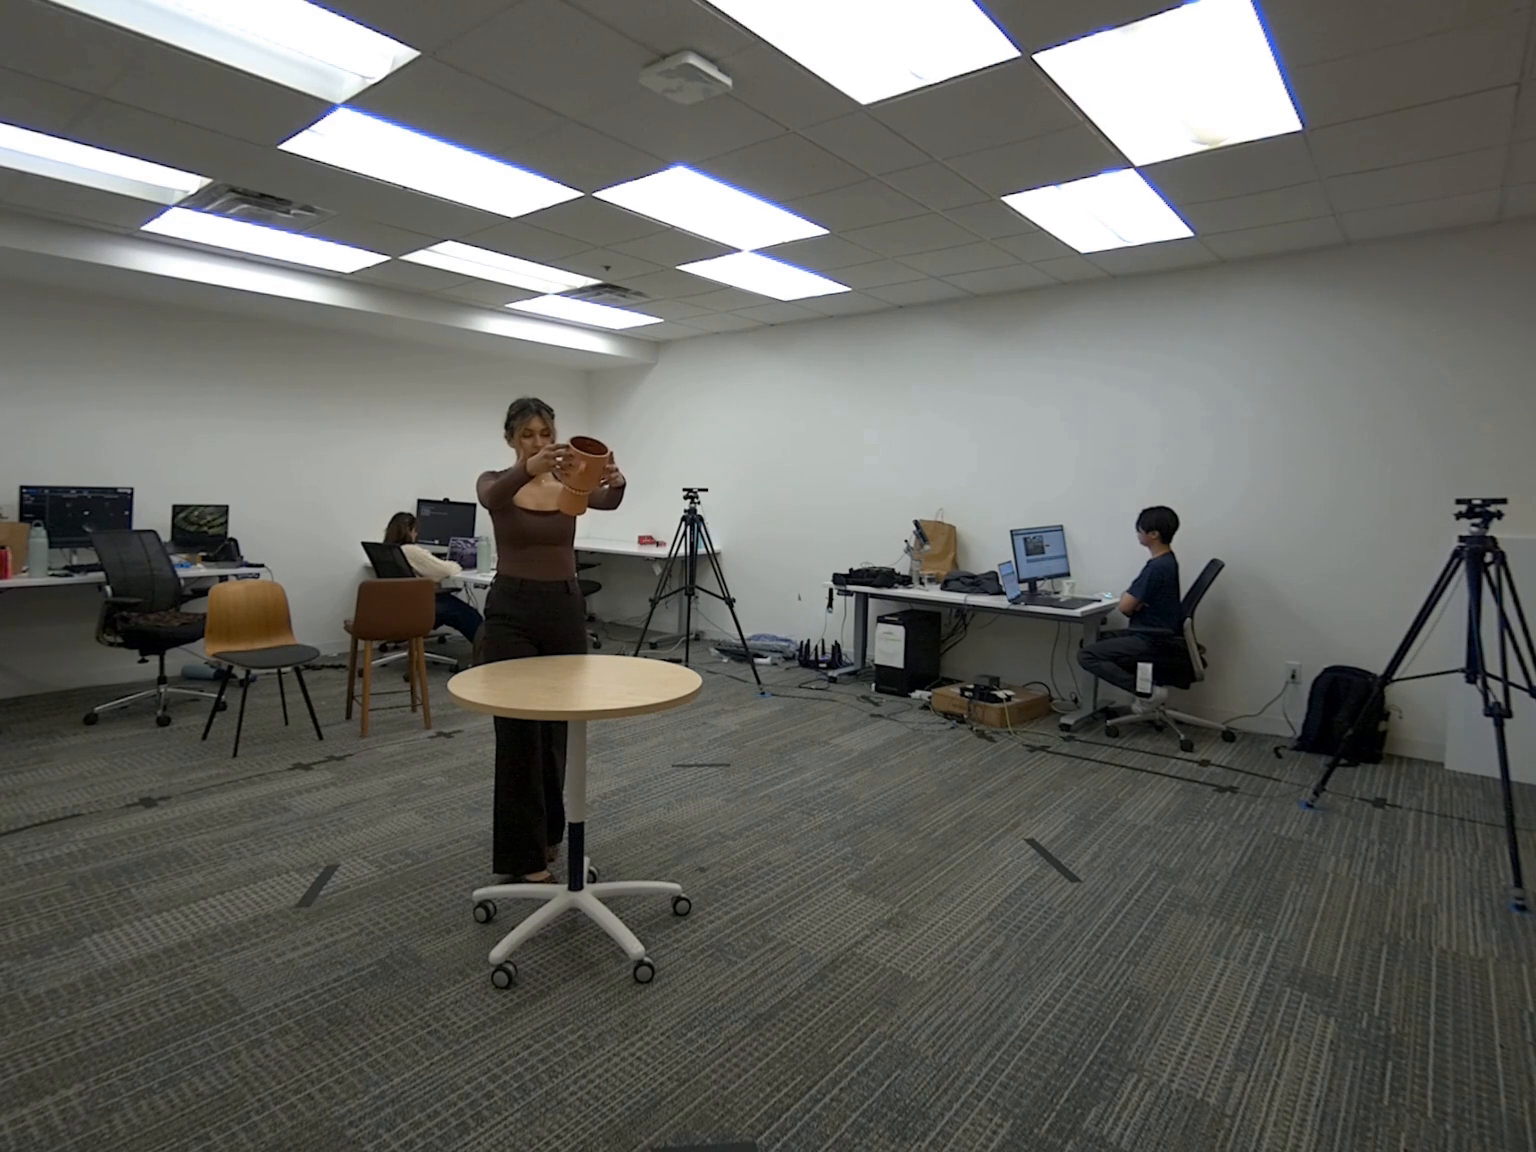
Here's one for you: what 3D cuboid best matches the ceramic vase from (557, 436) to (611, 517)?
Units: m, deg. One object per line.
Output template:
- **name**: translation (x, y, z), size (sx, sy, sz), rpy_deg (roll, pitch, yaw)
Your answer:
- **ceramic vase**: translation (-0.584, -0.303, 2.593), size (0.139, 0.217, 0.156), rpy_deg (36, 30, 22)
